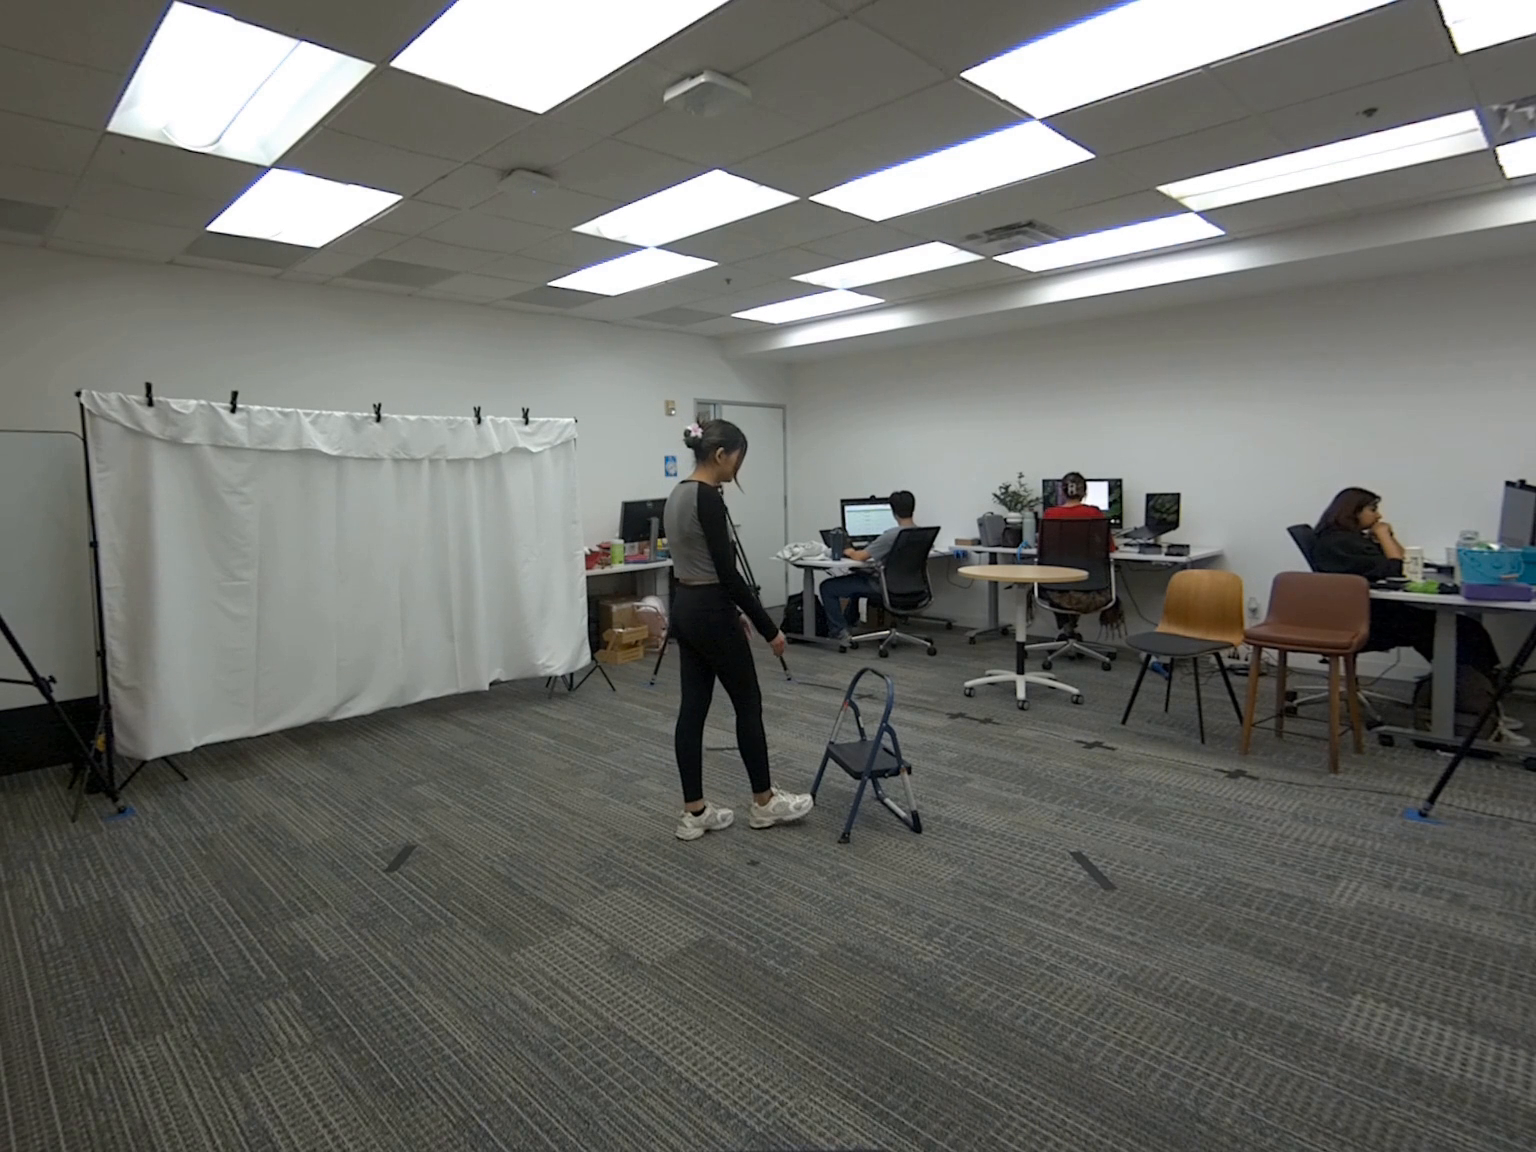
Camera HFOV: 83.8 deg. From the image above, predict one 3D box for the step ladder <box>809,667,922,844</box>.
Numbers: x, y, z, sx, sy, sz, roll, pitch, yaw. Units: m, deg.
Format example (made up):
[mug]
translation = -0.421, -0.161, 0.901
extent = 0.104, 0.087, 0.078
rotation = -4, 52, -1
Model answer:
[step ladder]
translation = 0.382, 0.691, 3.482
extent = 0.344, 0.604, 0.438
rotation = -1, 4, -15
